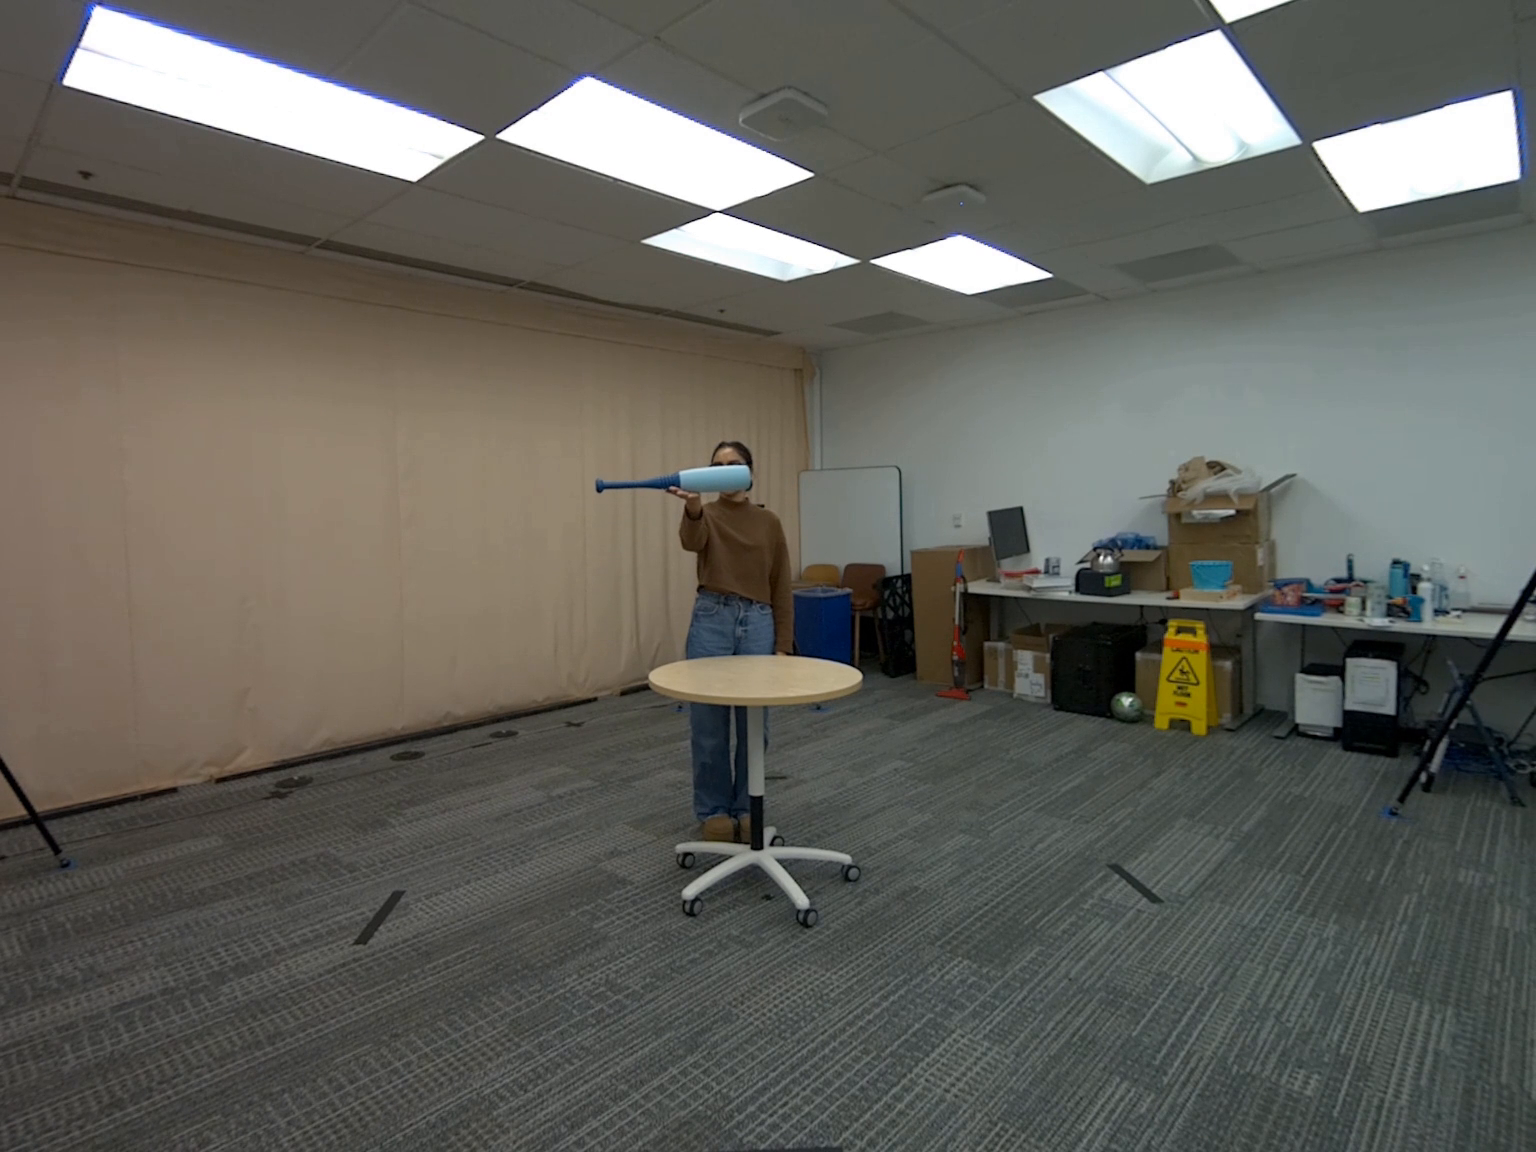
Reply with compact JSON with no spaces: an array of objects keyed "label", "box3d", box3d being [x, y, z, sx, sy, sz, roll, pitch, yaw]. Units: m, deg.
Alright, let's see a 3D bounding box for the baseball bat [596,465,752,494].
[{"label":"baseball bat","box3d":[-0.326,-0.330,2.951,0.540,0.089,0.090,-4,4,-5]}]
